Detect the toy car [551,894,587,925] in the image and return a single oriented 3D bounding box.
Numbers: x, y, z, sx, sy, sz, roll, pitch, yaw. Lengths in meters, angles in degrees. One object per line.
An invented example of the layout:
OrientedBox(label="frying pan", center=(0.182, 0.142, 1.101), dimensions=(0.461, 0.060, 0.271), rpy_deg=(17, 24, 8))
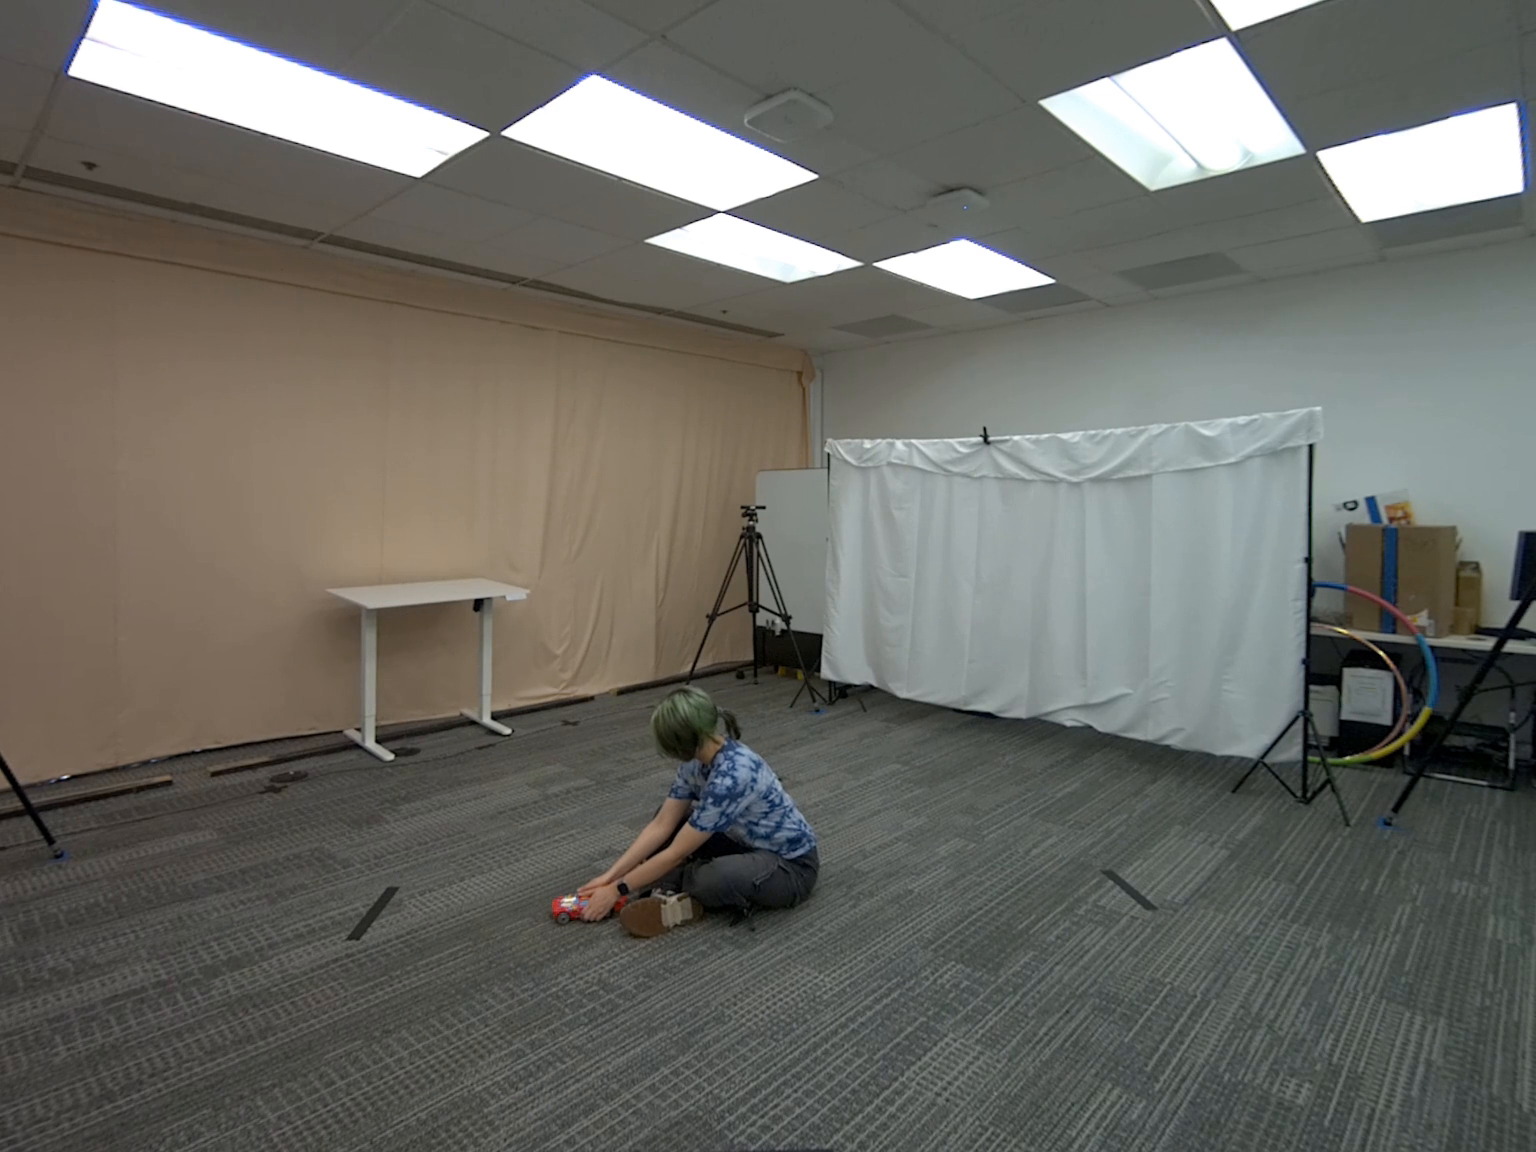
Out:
OrientedBox(label="toy car", center=(-0.612, 1.135, 2.880), dimensions=(0.251, 0.083, 0.132), rpy_deg=(-9, 5, -13))
